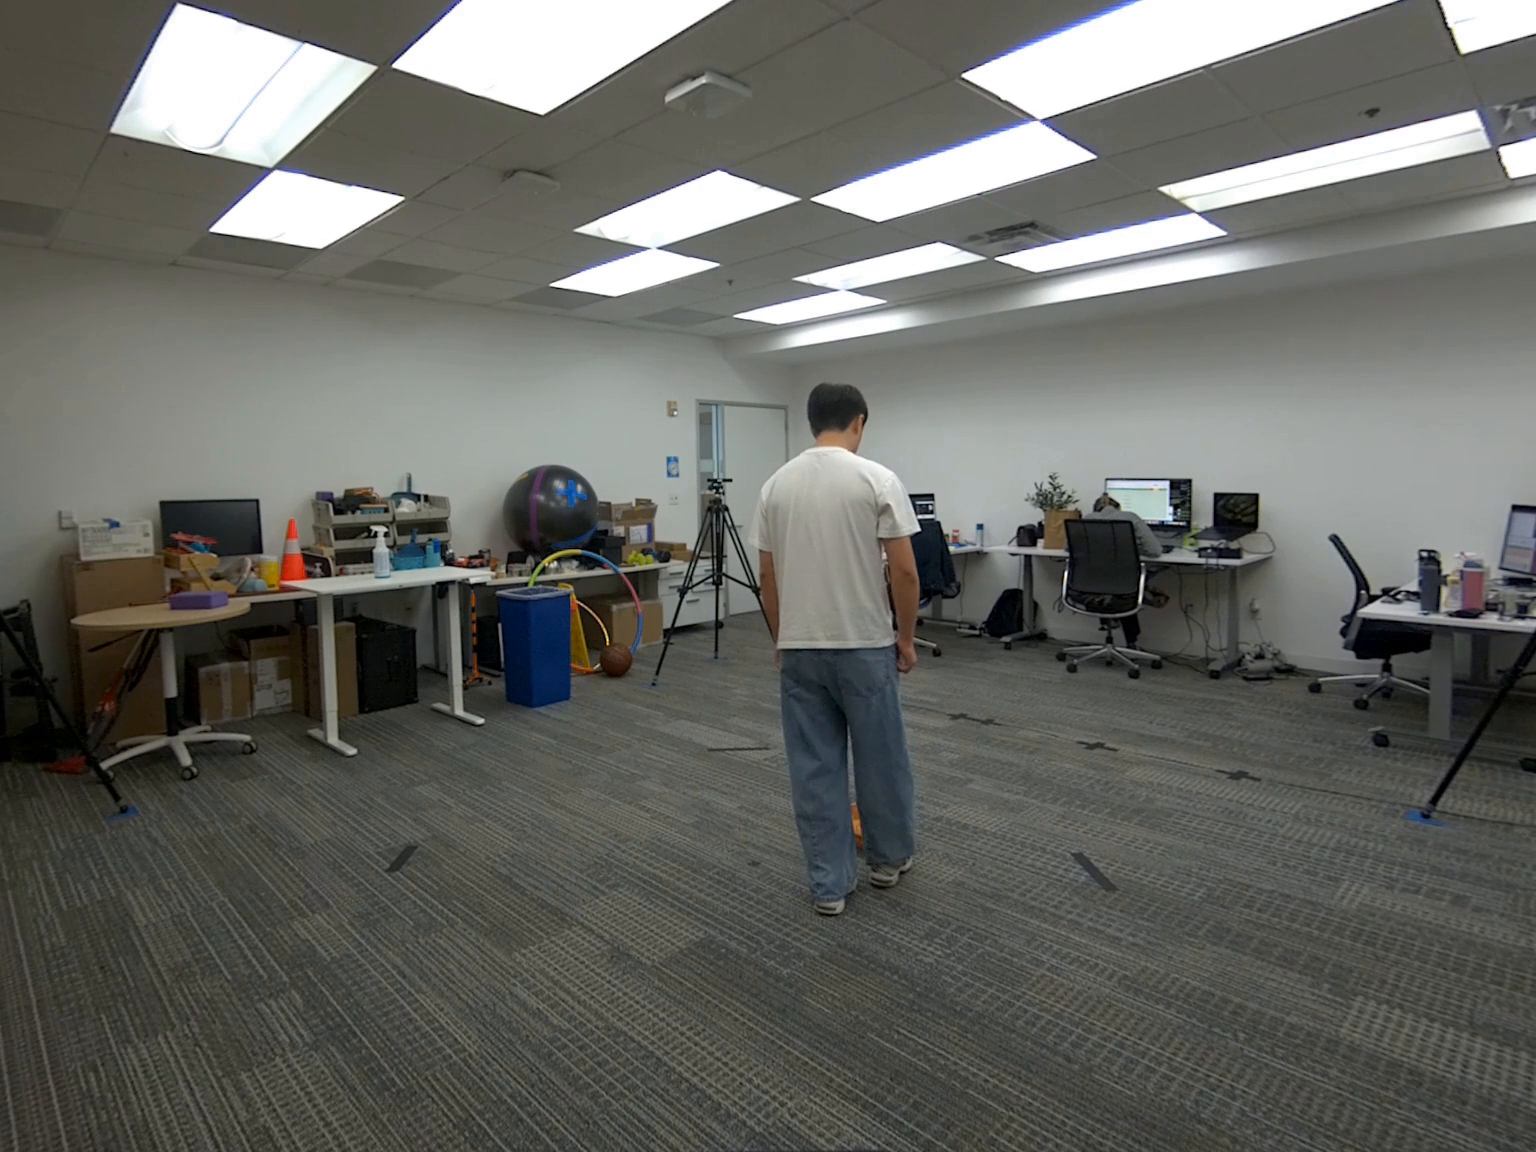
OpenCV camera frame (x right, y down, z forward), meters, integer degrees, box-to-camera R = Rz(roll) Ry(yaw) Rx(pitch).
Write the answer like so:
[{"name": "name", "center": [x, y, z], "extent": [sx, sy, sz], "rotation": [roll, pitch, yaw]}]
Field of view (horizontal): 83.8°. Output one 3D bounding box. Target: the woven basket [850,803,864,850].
[{"name": "woven basket", "center": [0.415, 0.979, 3.299], "extent": [0.248, 0.073, 0.357], "rotation": [-3, 6, -18]}]
